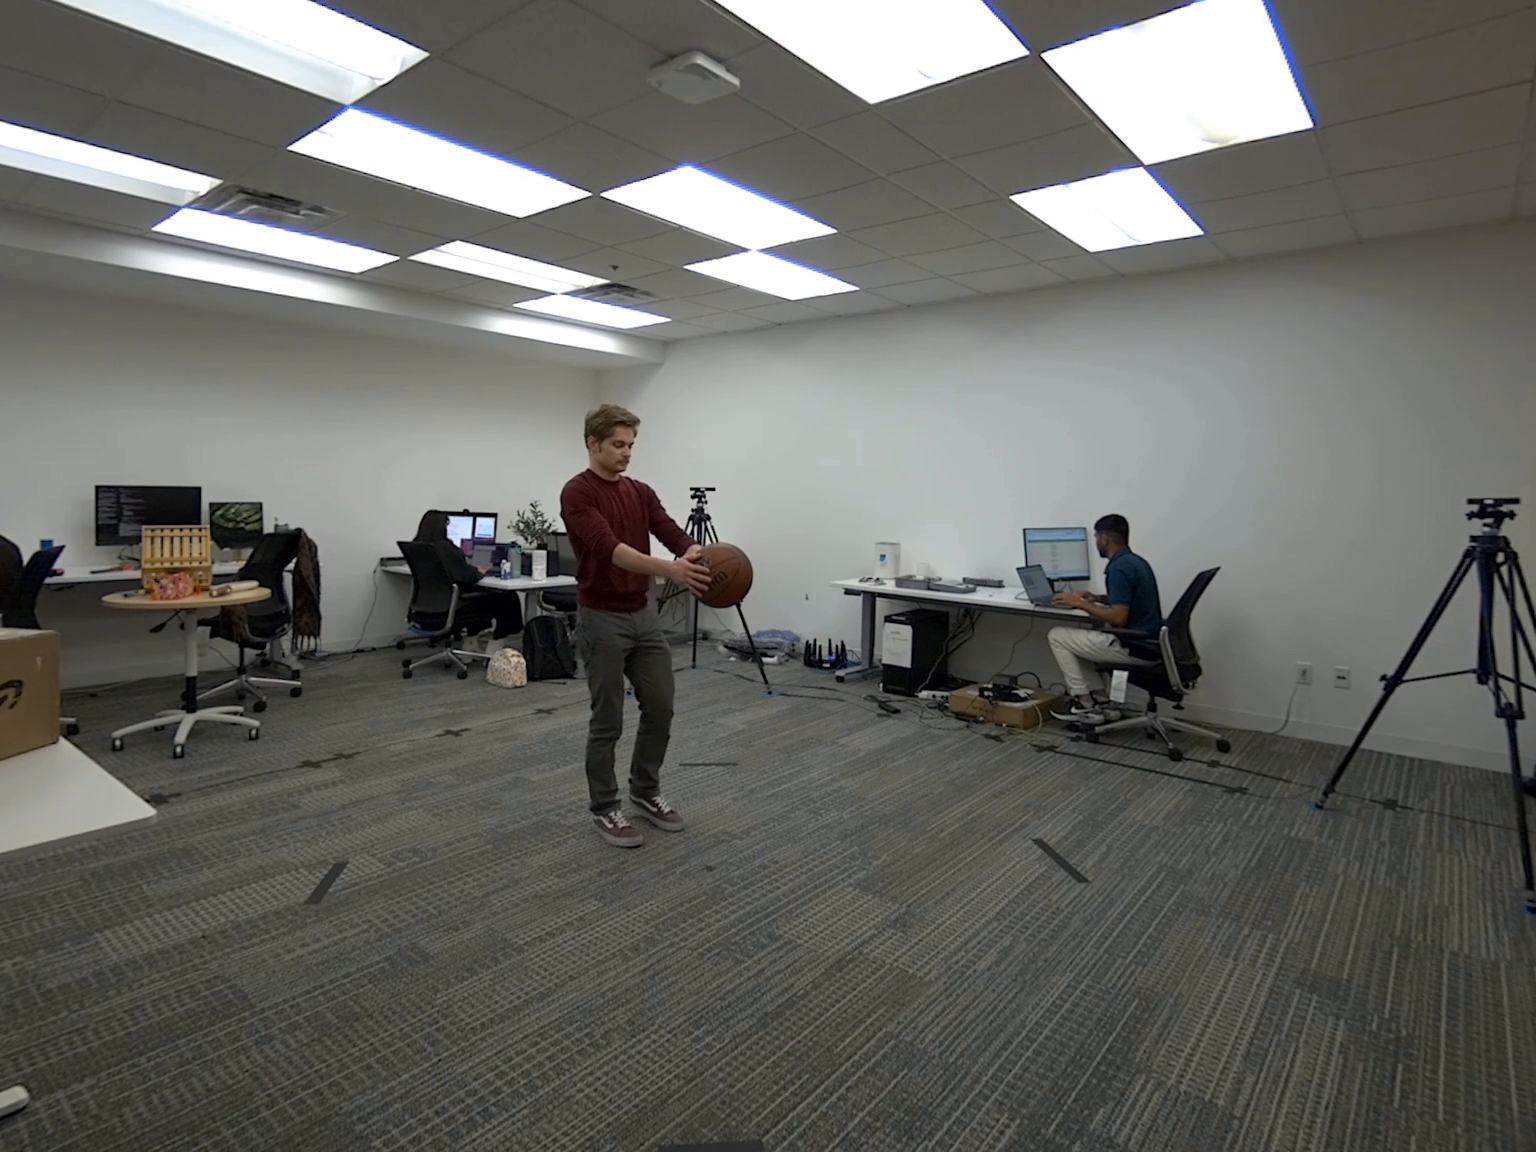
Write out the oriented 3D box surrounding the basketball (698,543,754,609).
[{"bbox_3d":[-0.180,-0.020,3.071,0.235,0.235,0.237,1,4,-2],"label":"basketball"}]
